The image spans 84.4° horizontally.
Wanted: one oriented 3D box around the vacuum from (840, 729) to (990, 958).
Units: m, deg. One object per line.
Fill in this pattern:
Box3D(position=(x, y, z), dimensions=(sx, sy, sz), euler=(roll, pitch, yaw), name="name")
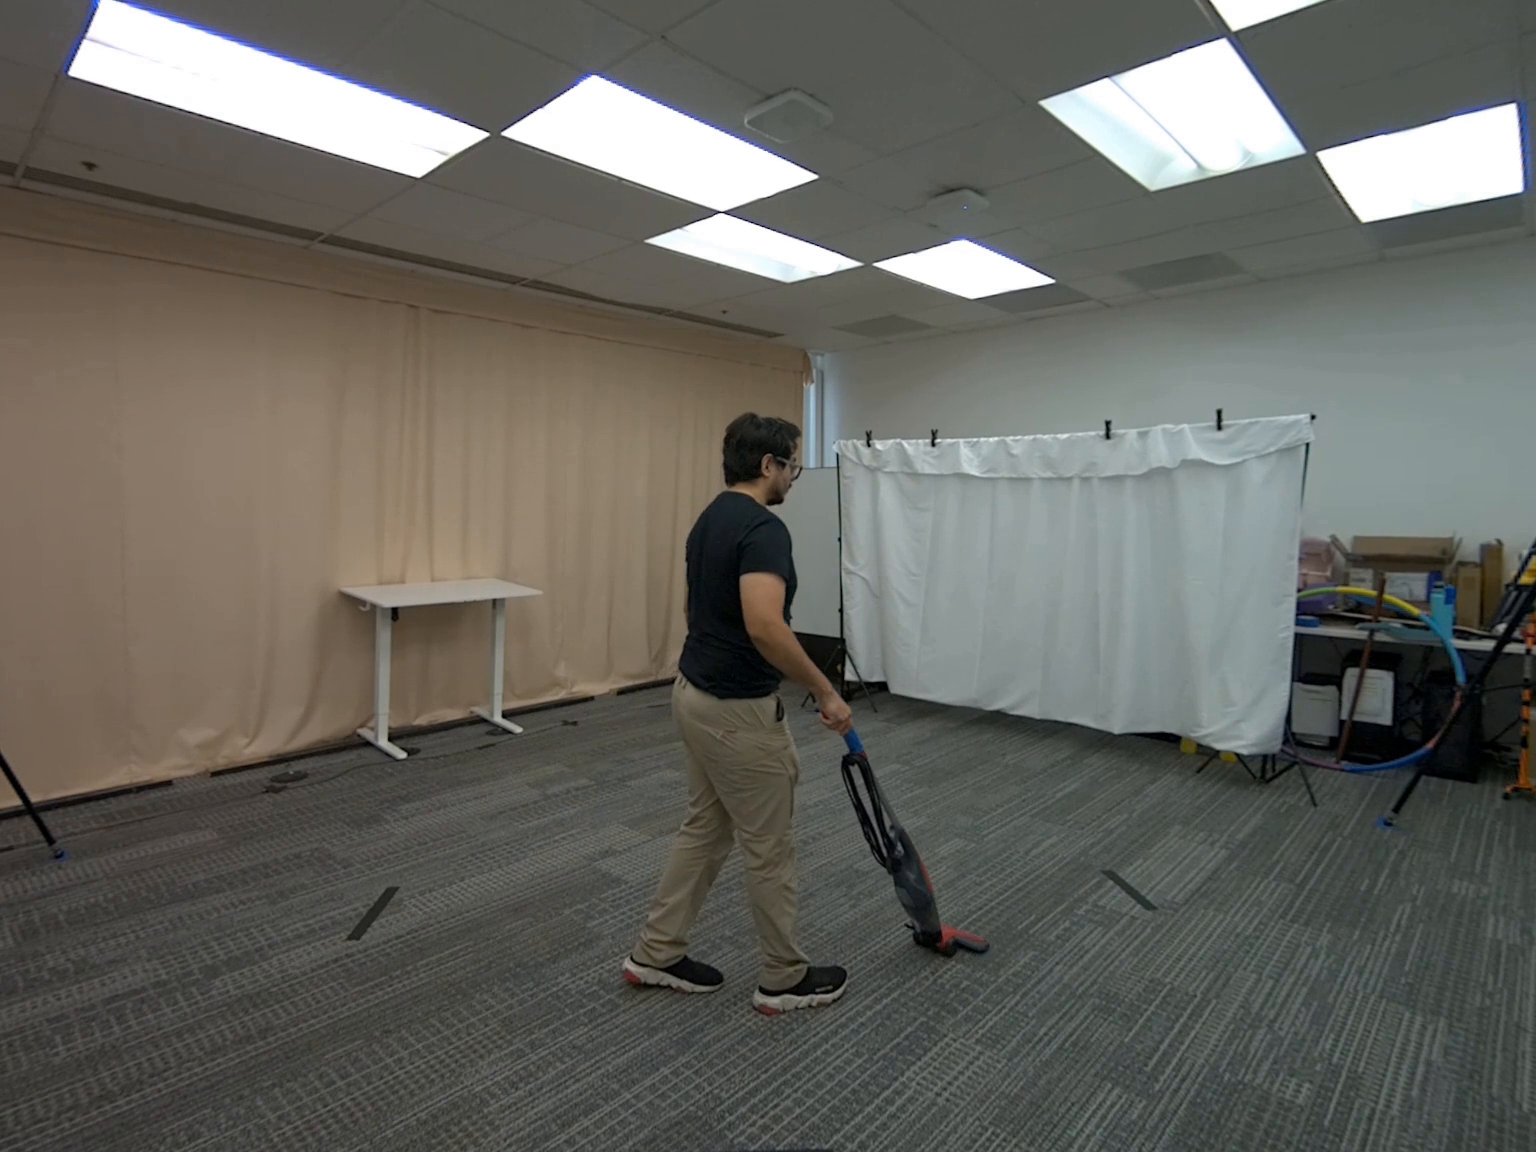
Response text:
Box3D(position=(0.365, 0.761, 2.436), dimensions=(0.261, 1.023, 0.143), euler=(4, 40, 43), name="vacuum")
